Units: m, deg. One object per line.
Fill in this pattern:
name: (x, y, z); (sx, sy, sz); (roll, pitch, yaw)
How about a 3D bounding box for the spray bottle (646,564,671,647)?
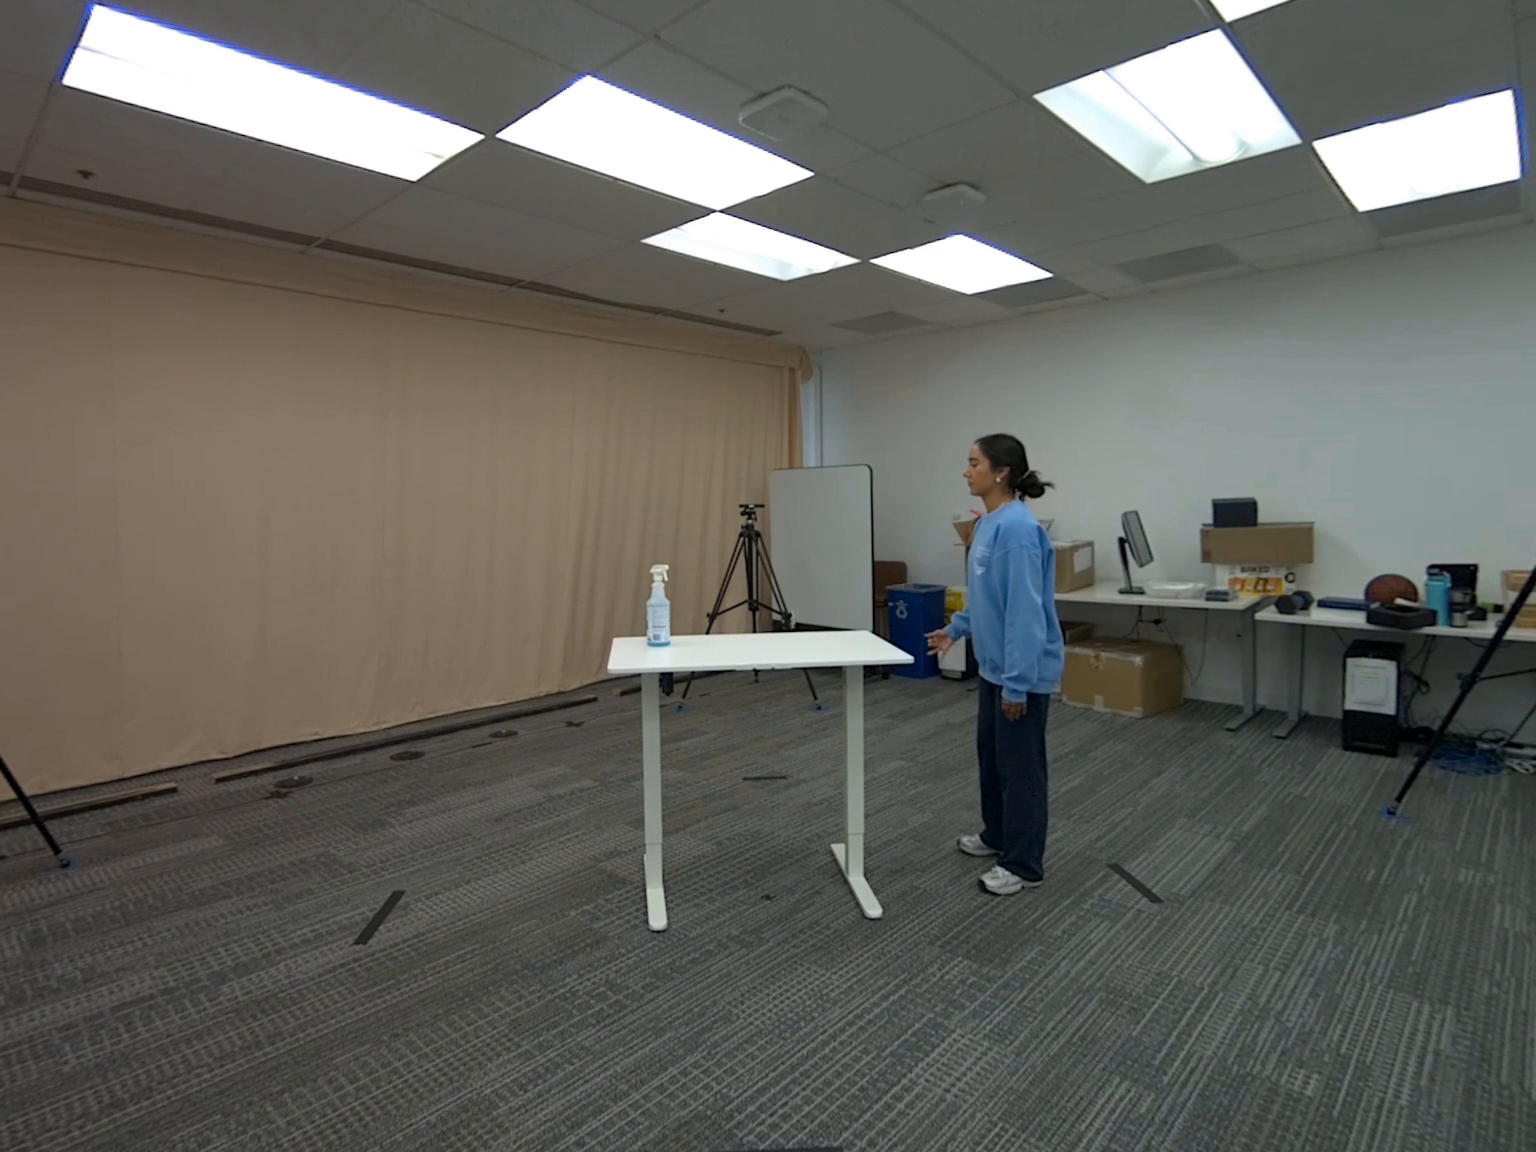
spray bottle: (-0.401, 0.110, 3.095); (0.085, 0.296, 0.092); (-1, 5, -22)
